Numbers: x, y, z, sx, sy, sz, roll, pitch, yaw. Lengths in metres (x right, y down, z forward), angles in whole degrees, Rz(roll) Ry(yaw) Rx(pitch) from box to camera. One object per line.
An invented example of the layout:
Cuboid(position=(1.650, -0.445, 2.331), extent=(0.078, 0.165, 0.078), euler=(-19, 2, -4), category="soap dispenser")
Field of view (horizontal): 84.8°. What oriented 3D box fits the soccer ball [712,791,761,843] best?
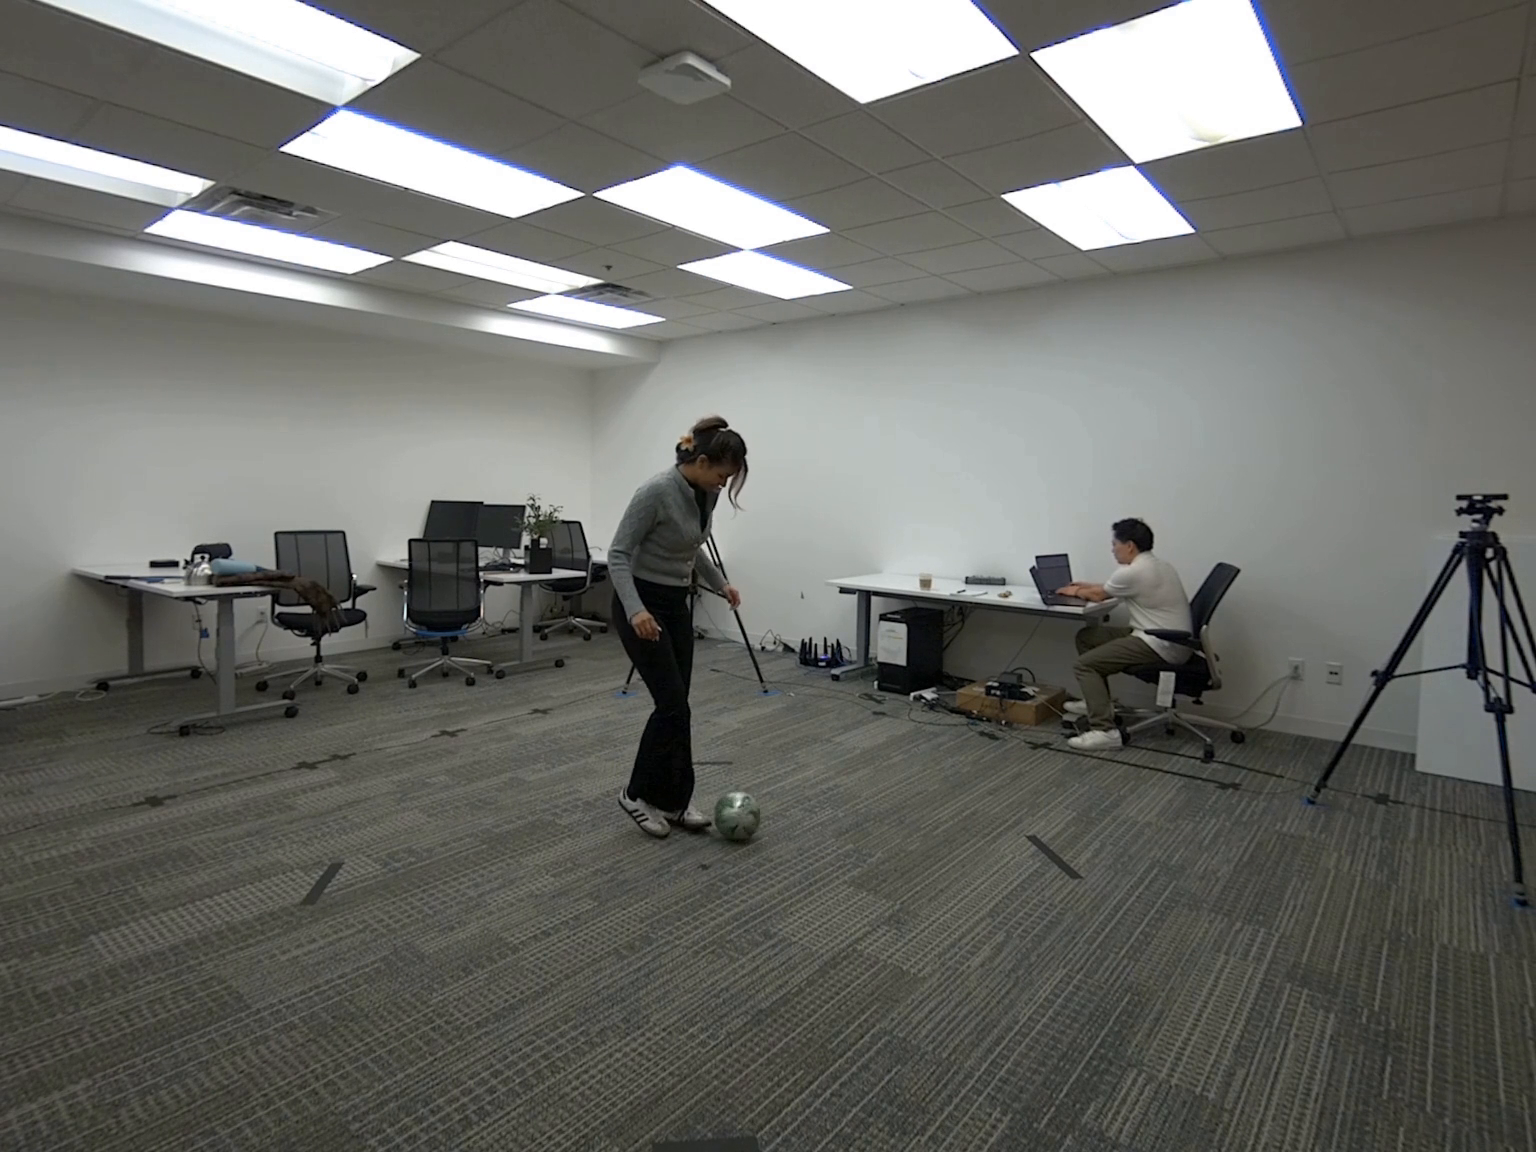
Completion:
Cuboid(position=(-0.122, 0.938, 3.361), extent=(0.187, 0.187, 0.188), euler=(1, 4, -2), category="soccer ball")
